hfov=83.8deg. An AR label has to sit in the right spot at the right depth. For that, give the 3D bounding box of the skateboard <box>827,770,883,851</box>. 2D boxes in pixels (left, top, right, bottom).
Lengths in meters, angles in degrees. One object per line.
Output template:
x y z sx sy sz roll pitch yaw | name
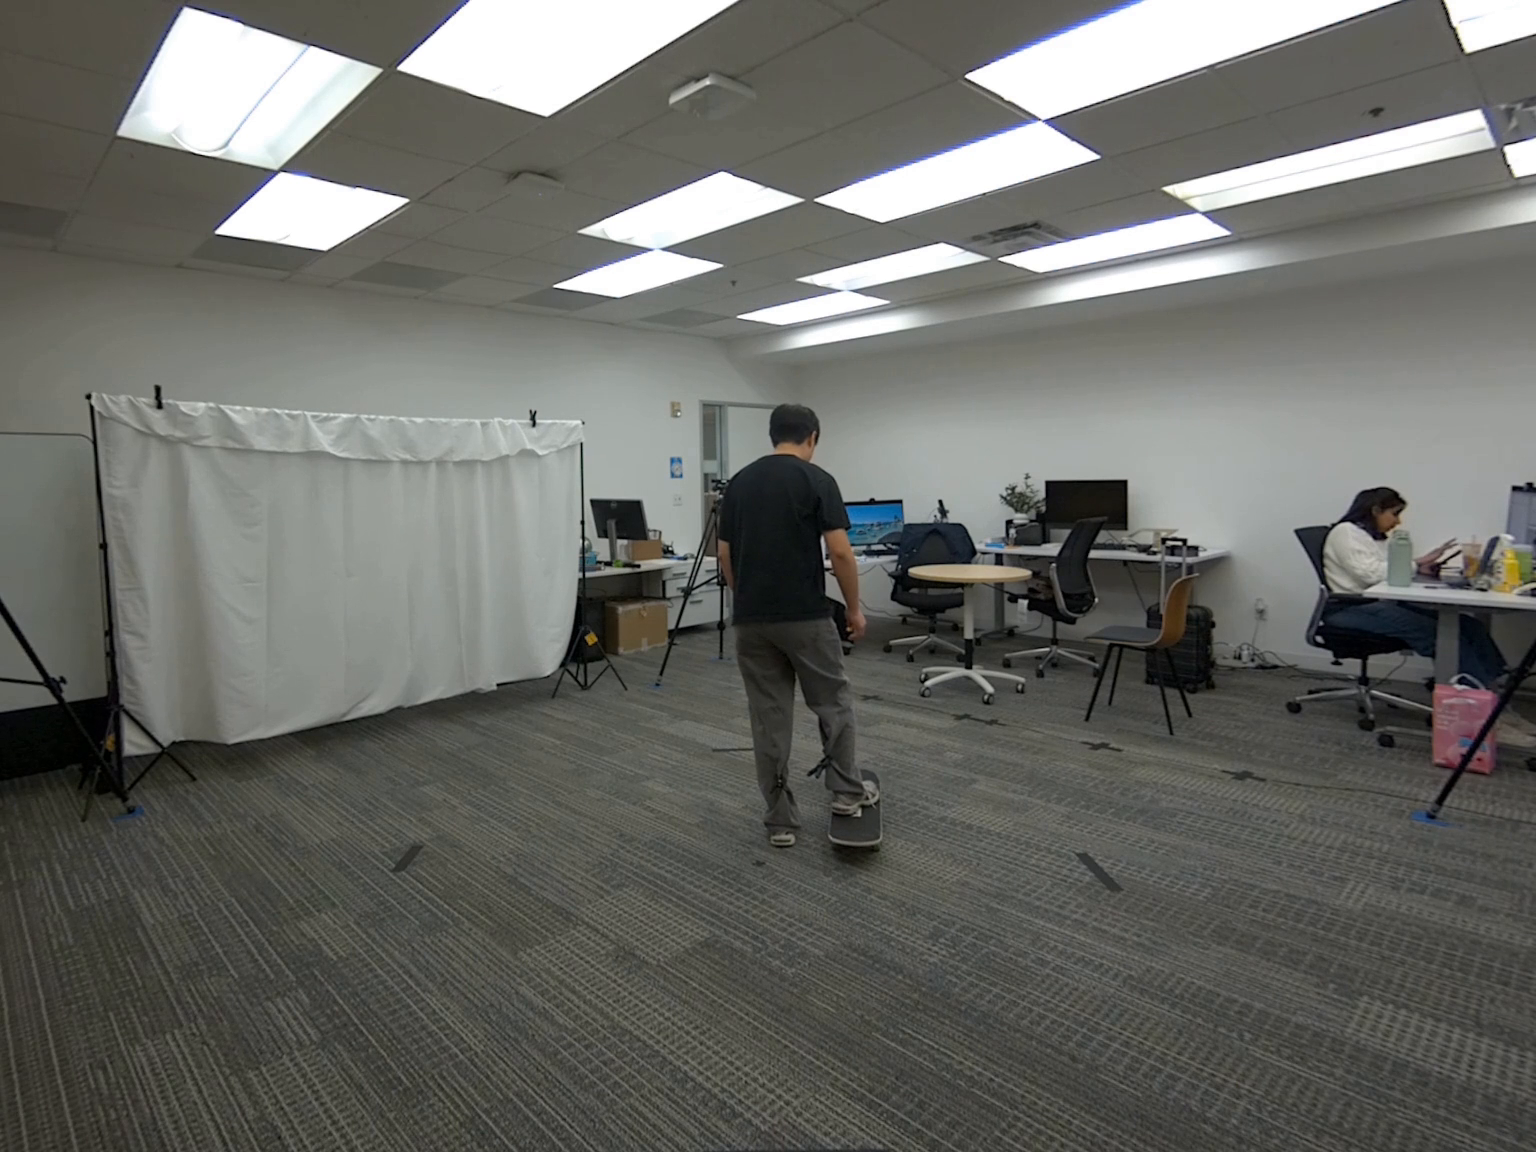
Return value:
0.355 0.947 3.402 0.195 0.110 0.783 -1 7 7 | skateboard
